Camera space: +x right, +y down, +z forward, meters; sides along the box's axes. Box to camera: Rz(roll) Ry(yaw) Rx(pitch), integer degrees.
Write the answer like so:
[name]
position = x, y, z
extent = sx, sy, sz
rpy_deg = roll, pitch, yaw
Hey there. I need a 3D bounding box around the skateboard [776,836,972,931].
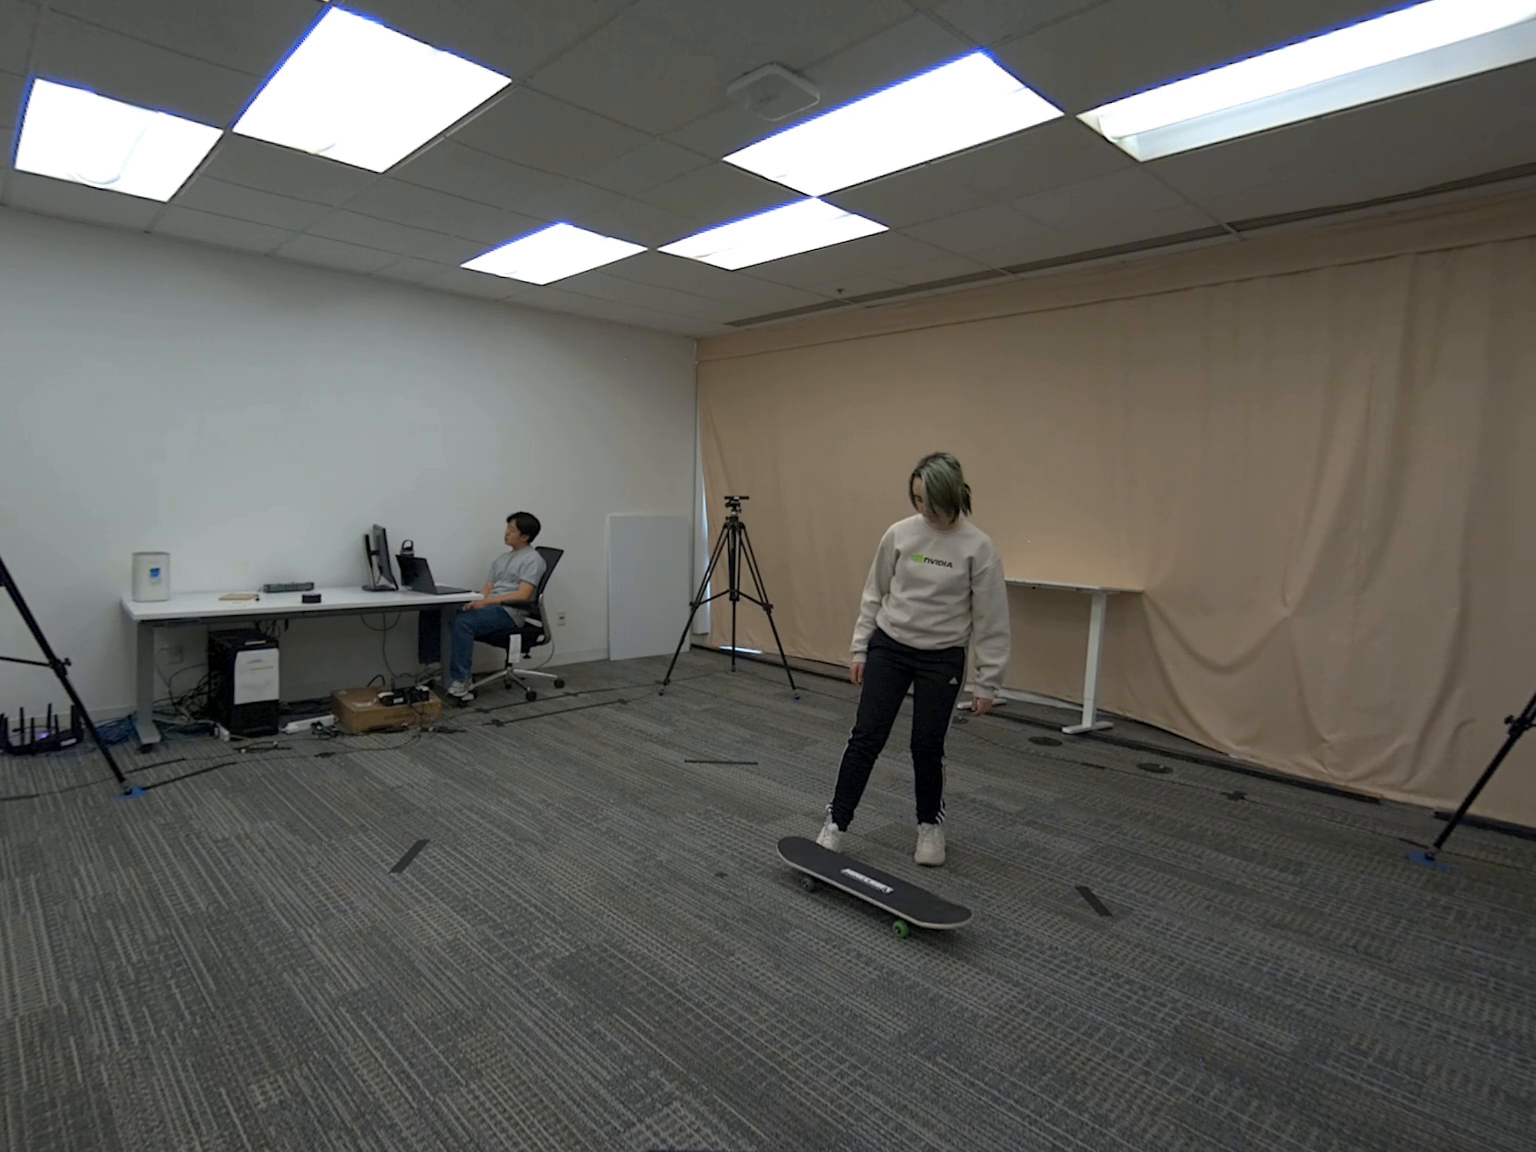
[skateboard]
position = 0.334, 1.077, 2.894
extent = 0.189, 0.110, 0.806
rpy_deg = -5, 9, -43
